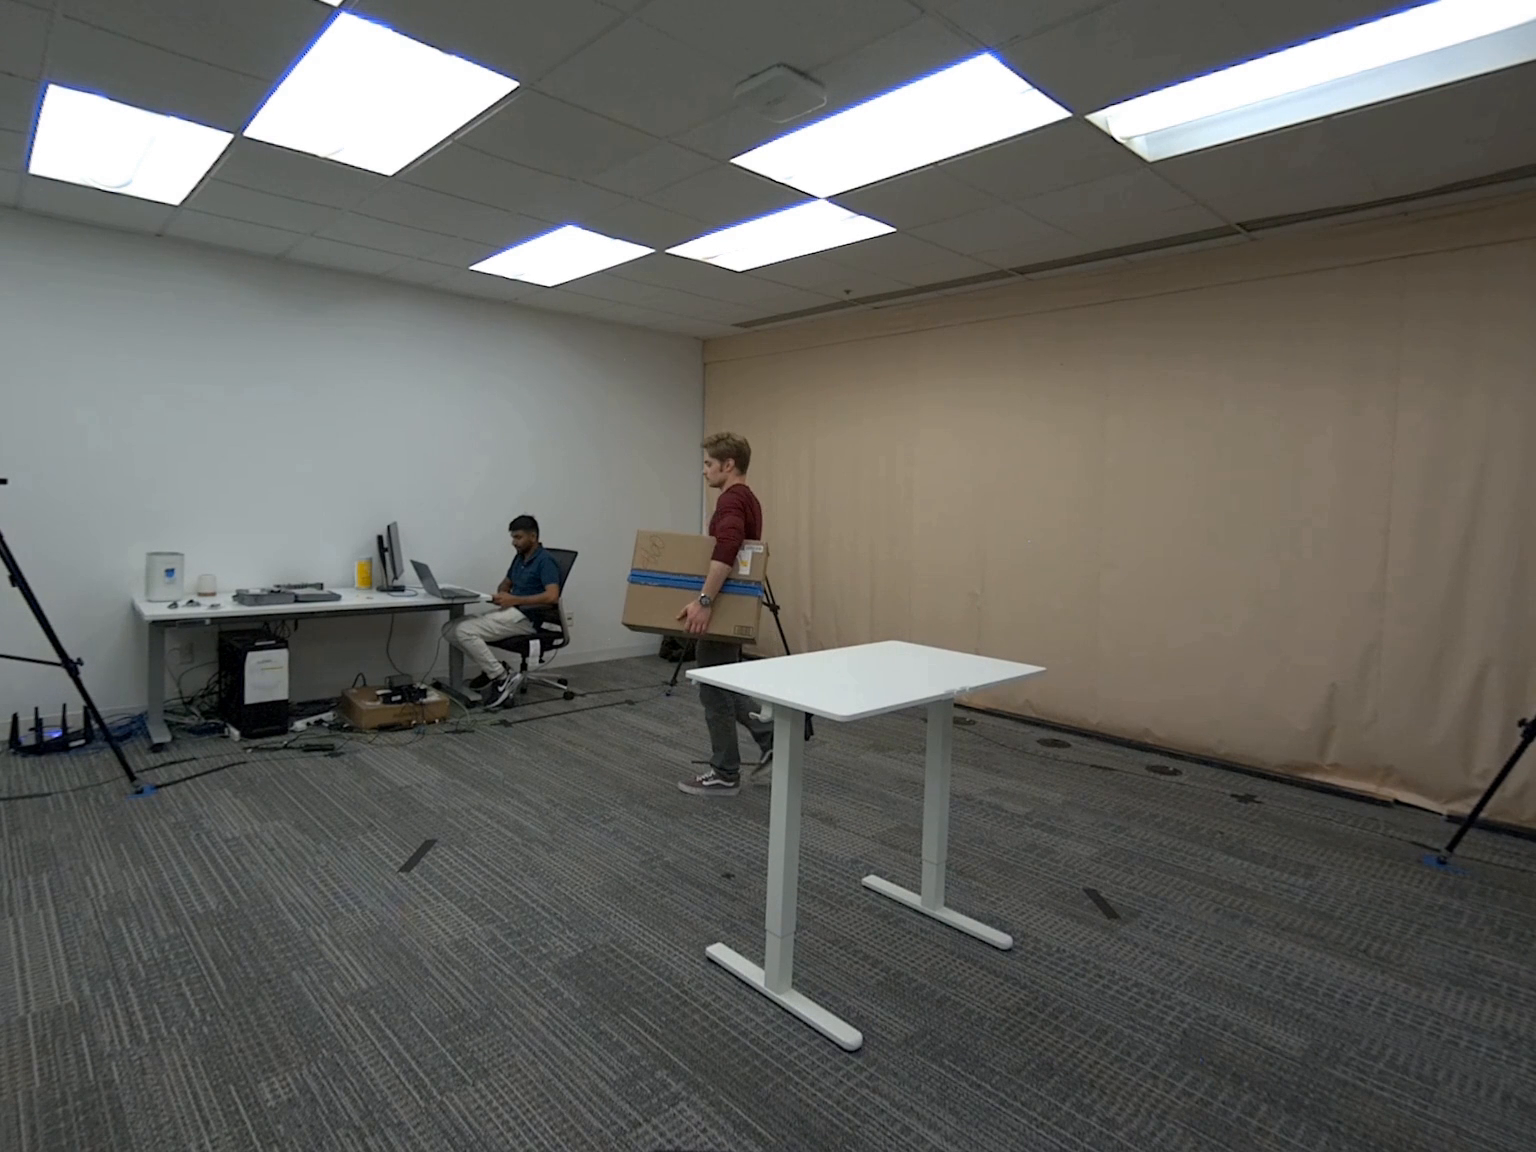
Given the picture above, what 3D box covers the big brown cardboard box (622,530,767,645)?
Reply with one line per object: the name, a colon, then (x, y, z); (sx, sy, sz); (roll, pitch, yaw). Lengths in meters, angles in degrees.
big brown cardboard box: (-0.301, 0.049, 3.644); (0.592, 0.421, 0.230); (6, -13, 6)
